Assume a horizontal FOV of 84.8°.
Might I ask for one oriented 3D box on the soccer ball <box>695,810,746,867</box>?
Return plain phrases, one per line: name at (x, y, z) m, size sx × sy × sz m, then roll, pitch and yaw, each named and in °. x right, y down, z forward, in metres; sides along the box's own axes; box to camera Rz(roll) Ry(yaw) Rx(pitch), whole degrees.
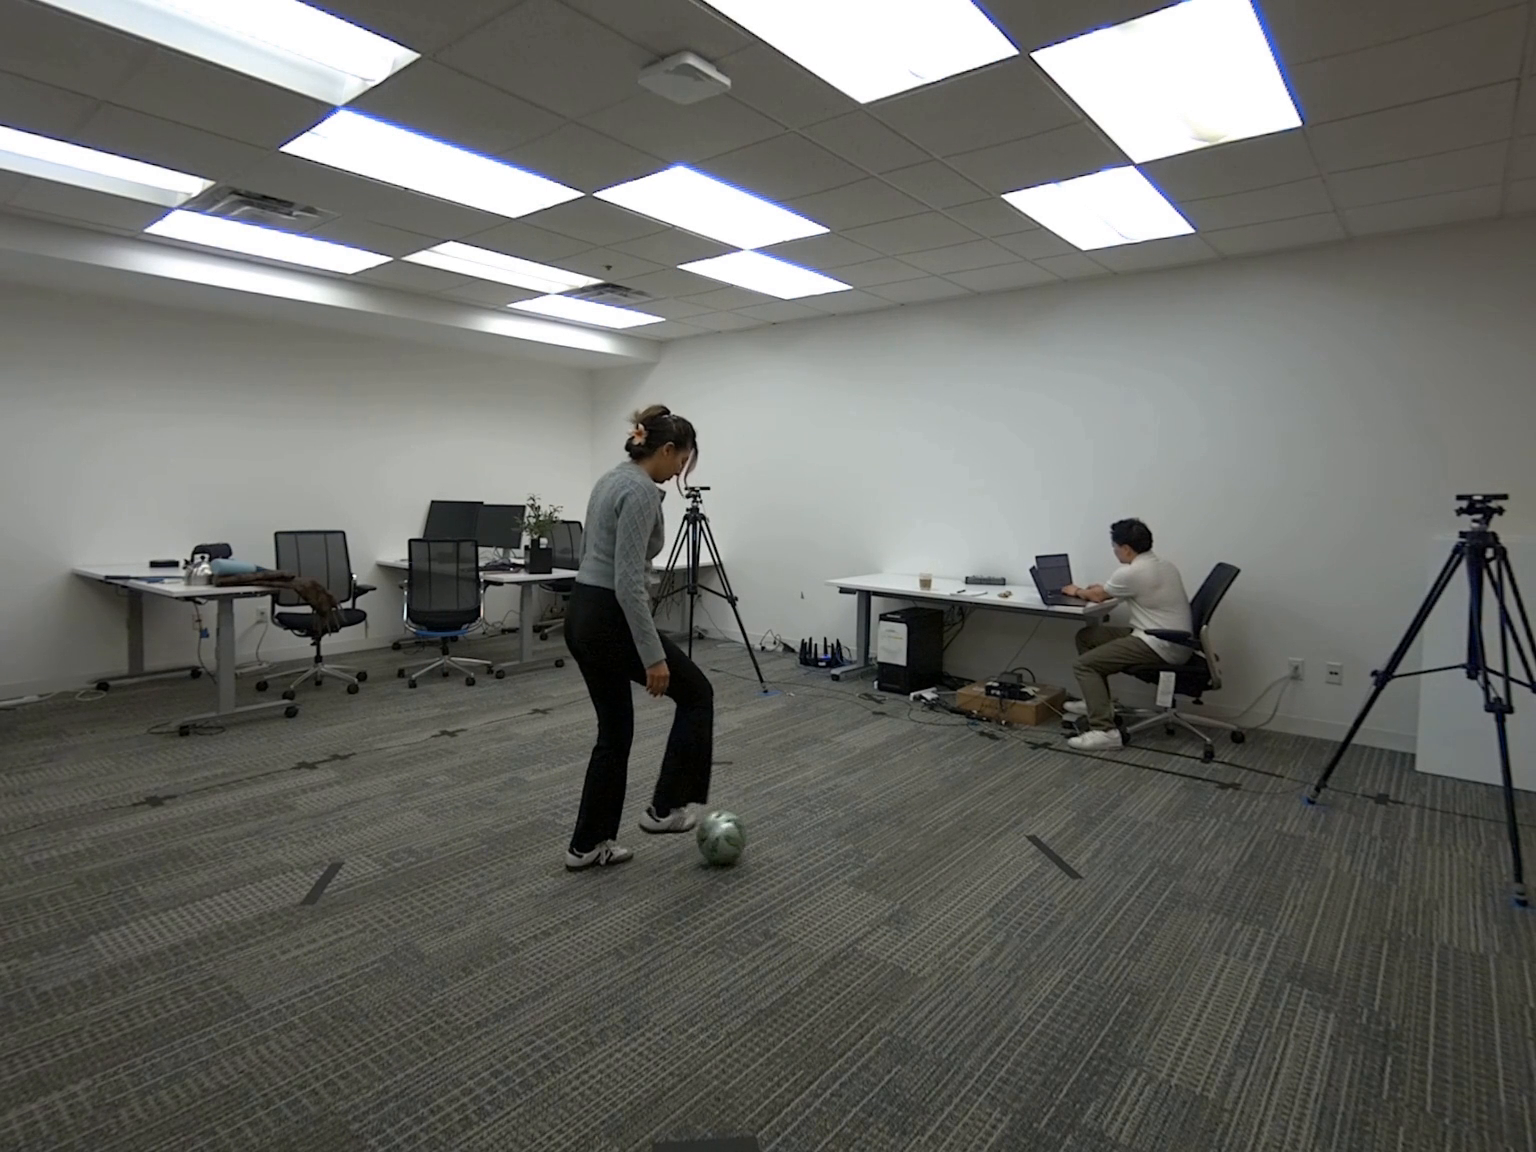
soccer ball at (-0.178, 0.970, 3.144) m, size 0.187 × 0.187 × 0.188 m, roll 1°, pitch 4°, yaw -2°
